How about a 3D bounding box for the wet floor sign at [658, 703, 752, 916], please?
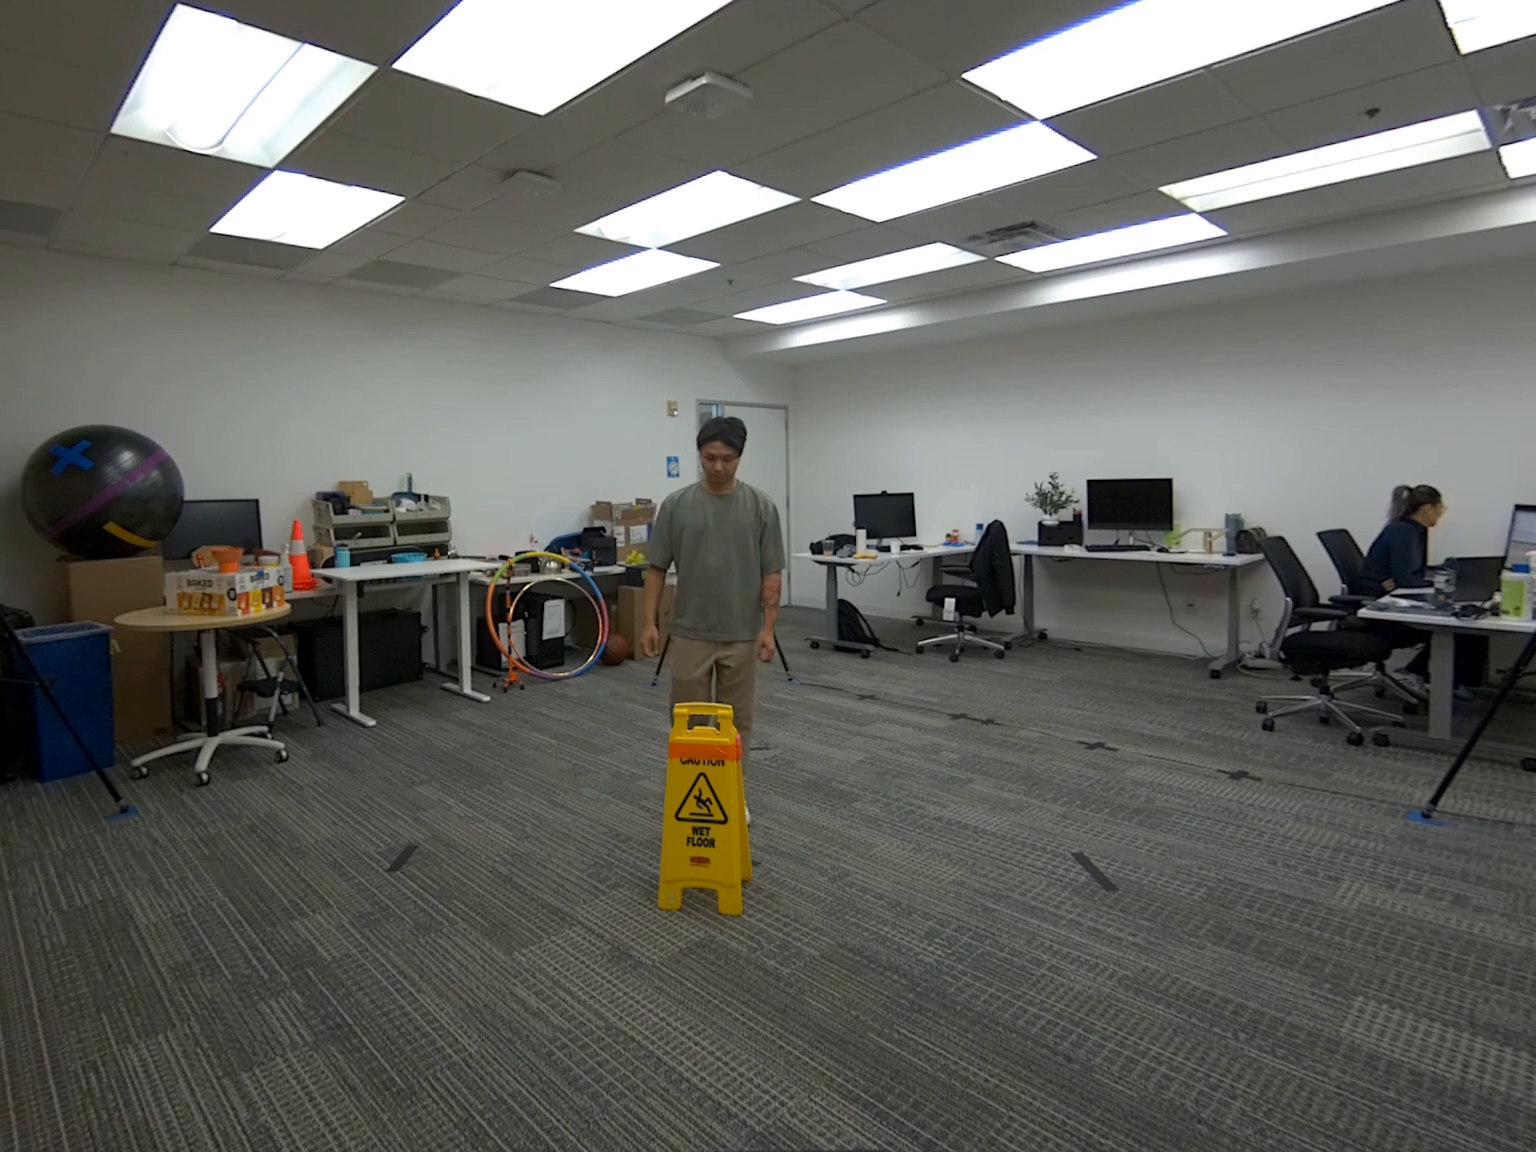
[{"bbox_3d":[-0.204,0.756,2.861,0.285,0.643,0.288,-1,5,8],"label":"wet floor sign"}]
